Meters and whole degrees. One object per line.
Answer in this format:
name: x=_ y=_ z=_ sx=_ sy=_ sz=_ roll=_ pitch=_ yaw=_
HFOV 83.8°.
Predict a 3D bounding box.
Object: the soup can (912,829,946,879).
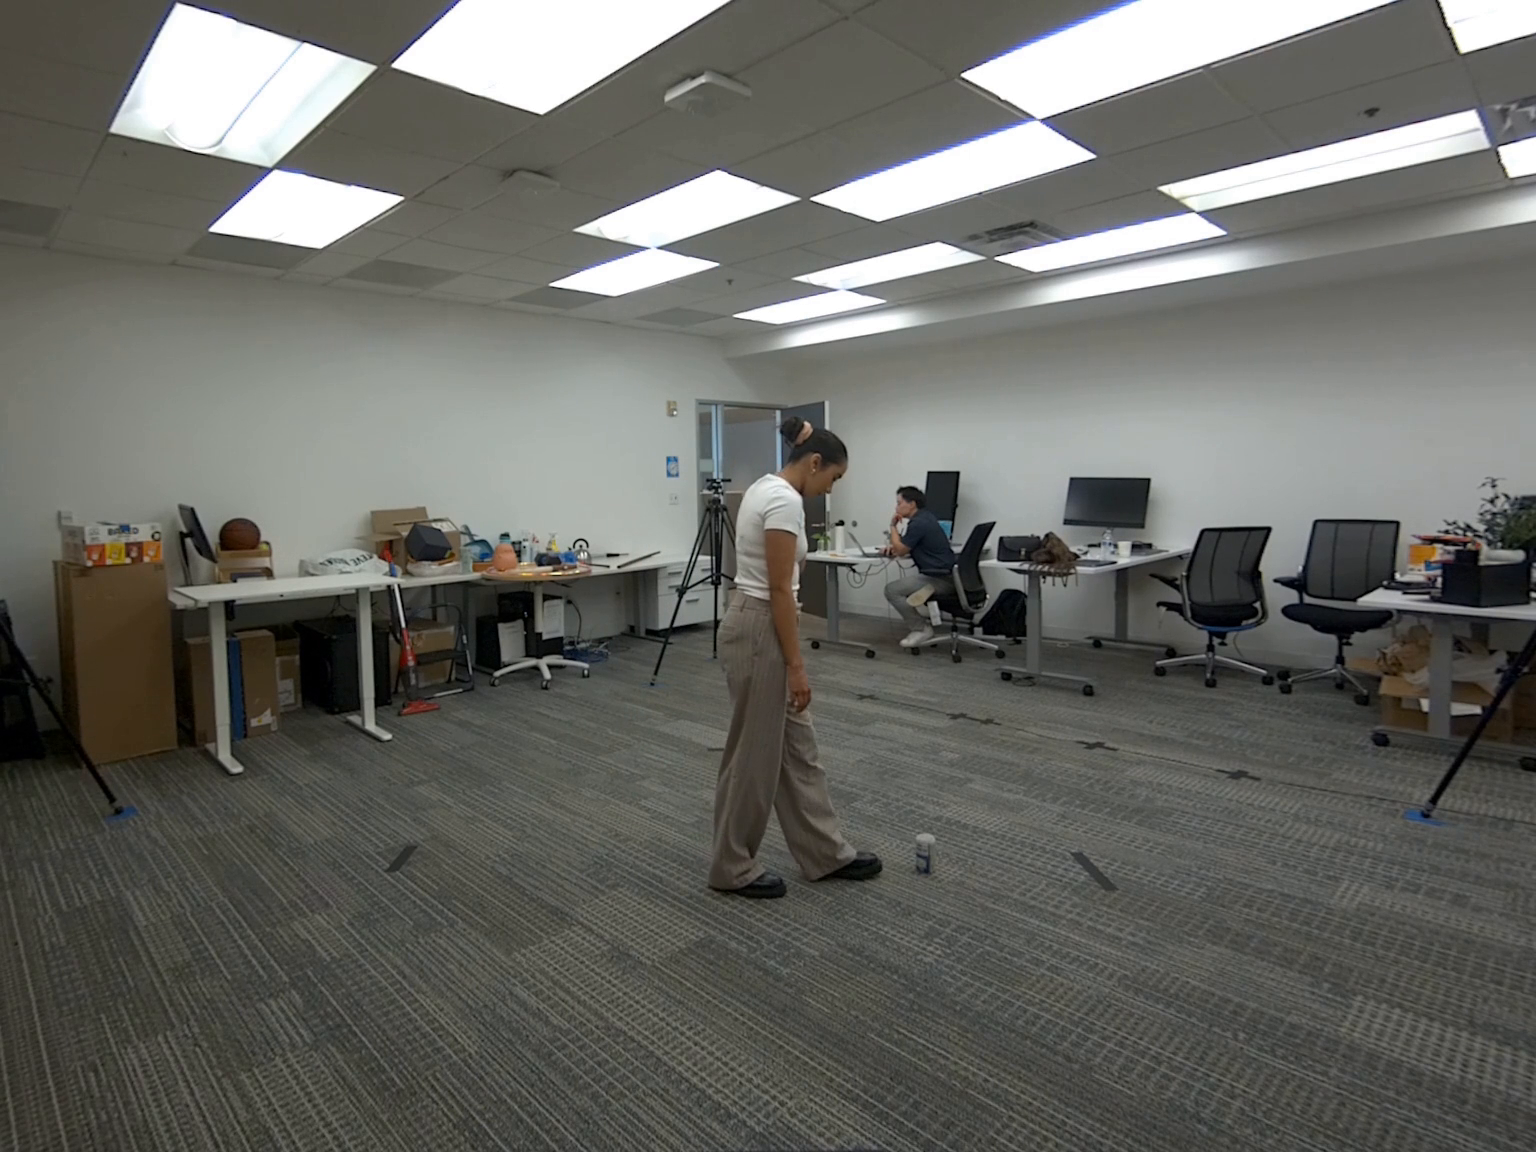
soup can: x=0.553 y=0.975 z=3.021 sx=0.067 sy=0.121 sz=0.067 roll=3 pitch=4 yaw=-2
